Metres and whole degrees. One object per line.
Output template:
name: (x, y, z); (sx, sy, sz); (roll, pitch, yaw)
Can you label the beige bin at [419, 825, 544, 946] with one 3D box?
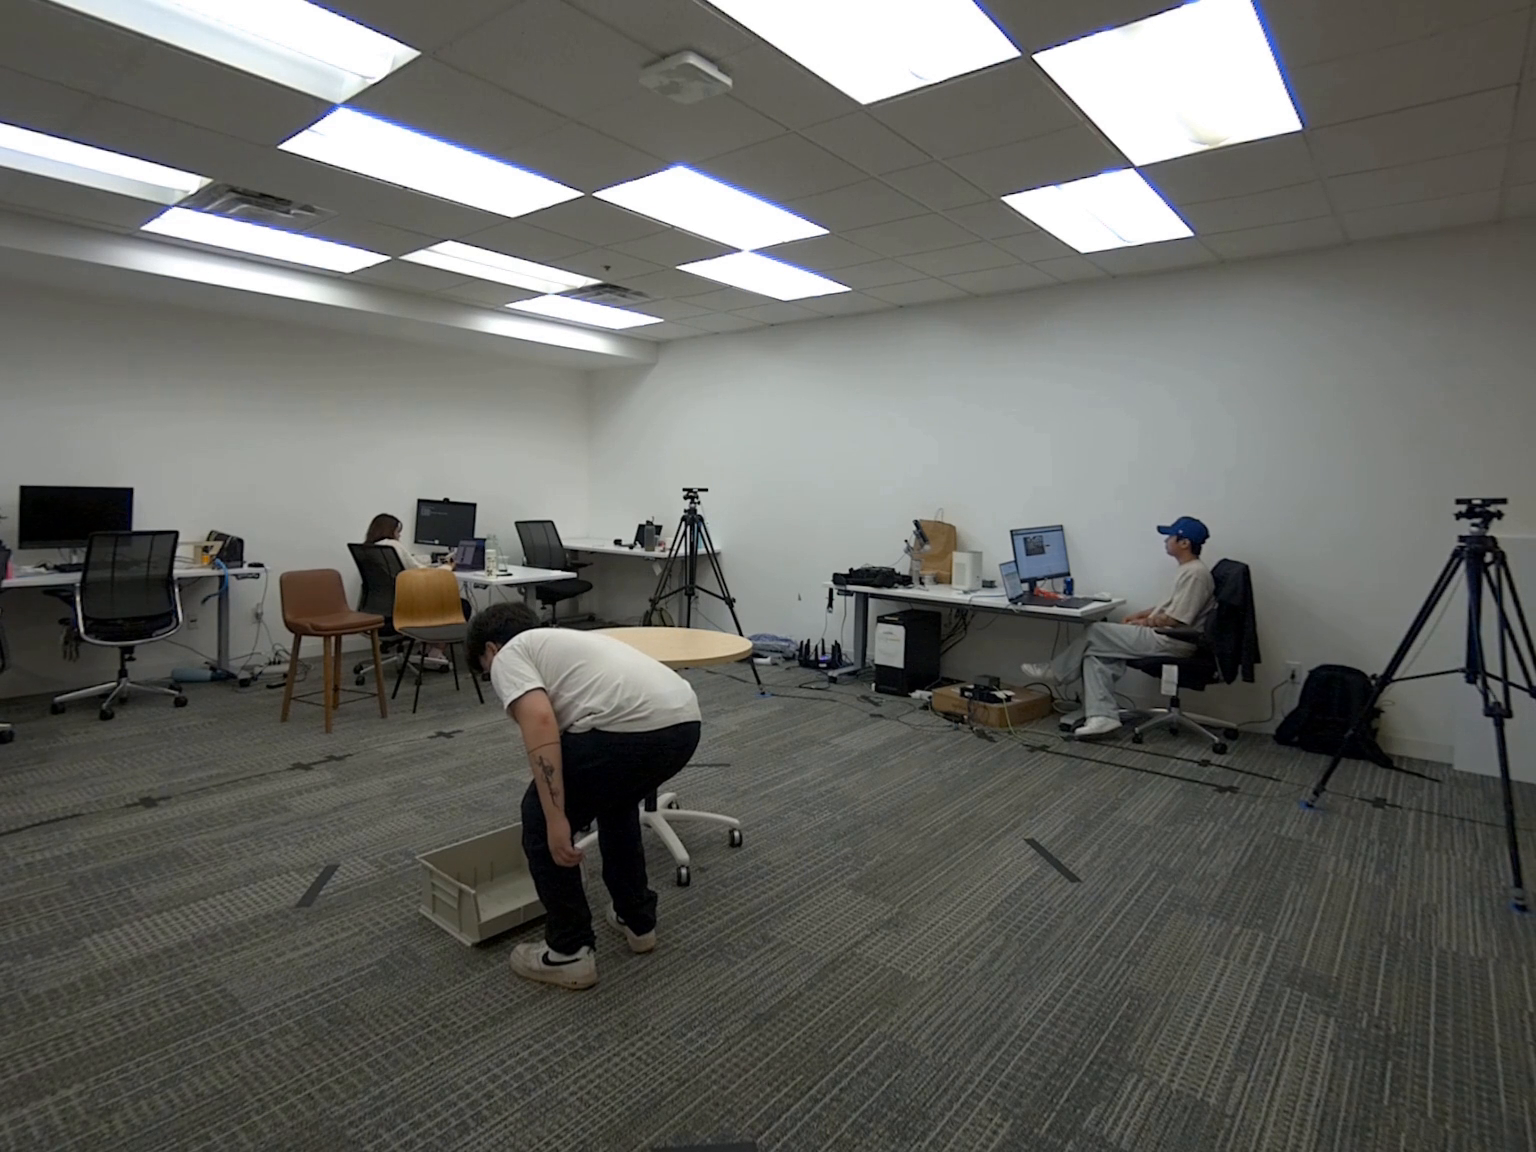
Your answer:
beige bin: (-0.881, 0.999, 2.791); (0.390, 0.188, 0.410); (4, 6, 40)
